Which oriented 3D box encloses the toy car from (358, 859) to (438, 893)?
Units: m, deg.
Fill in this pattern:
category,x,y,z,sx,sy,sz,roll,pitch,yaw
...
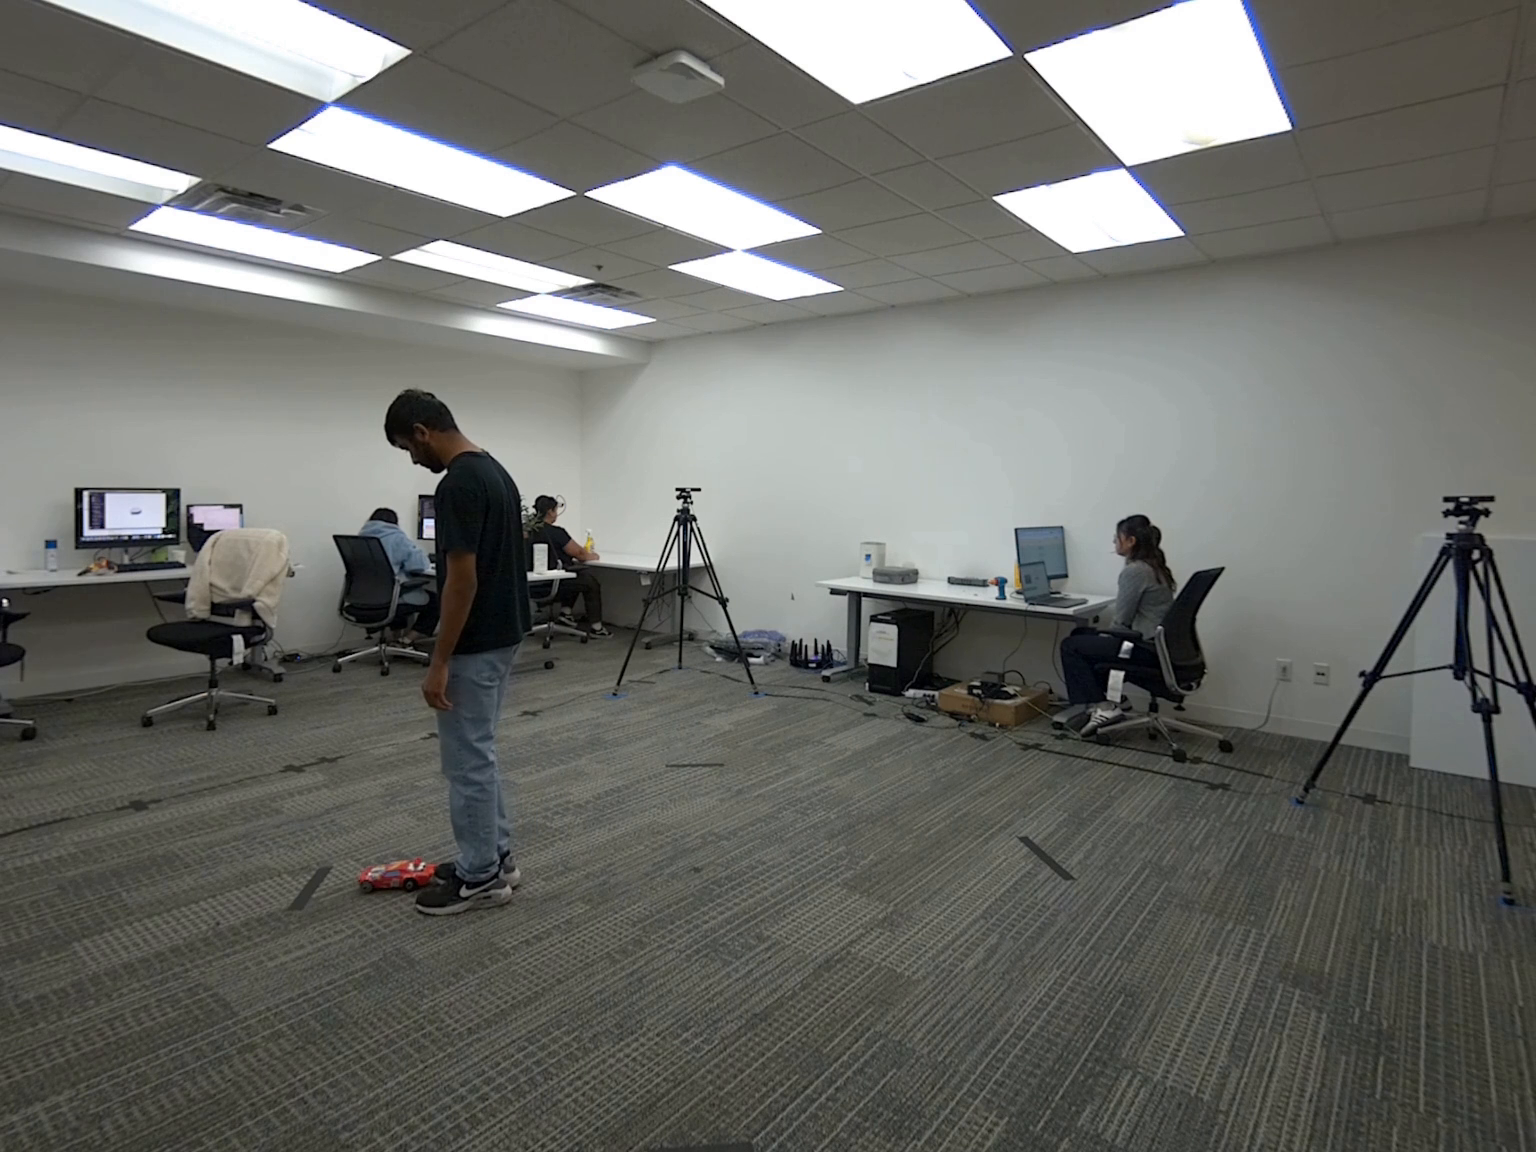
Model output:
category,x,y,z,sx,sy,sz,roll,pitch,yaw
toy car,-1.294,1.040,2.953,0.254,0.083,0.131,-11,6,-4
